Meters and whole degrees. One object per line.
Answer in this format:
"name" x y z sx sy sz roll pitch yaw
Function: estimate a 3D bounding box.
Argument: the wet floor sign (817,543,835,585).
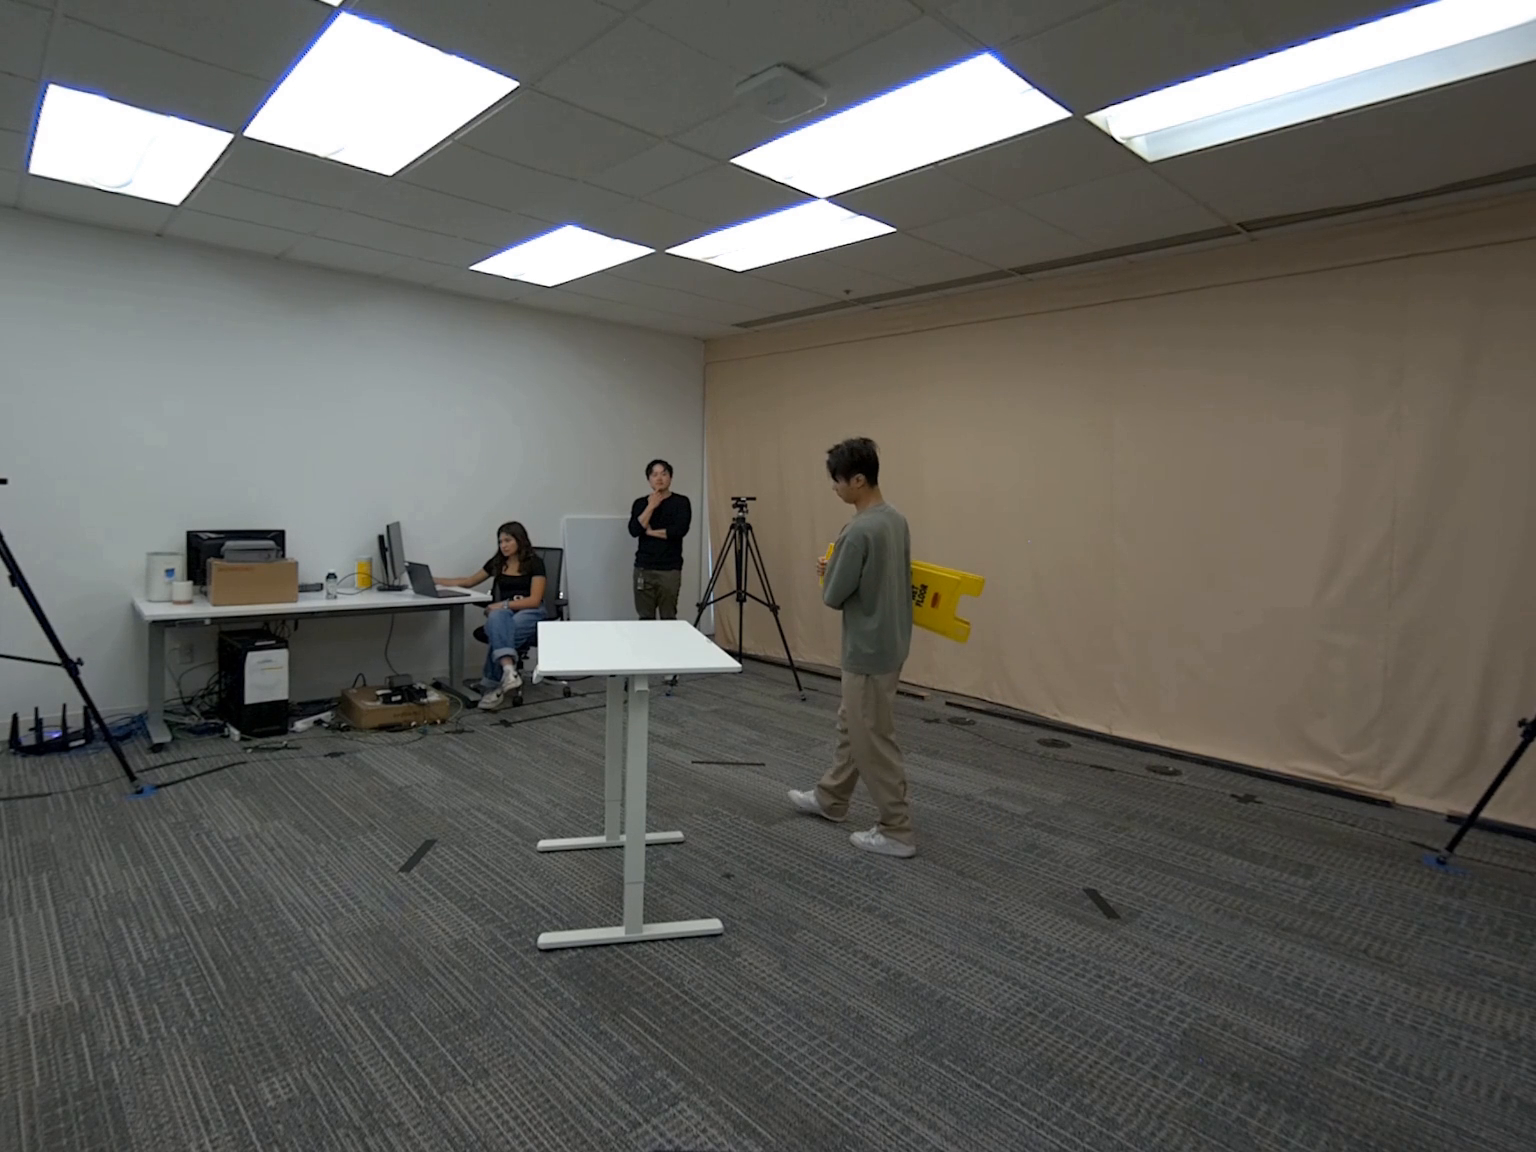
"wet floor sign" 0.531 0.054 3.550 0.657 0.280 0.287 19 17 17
